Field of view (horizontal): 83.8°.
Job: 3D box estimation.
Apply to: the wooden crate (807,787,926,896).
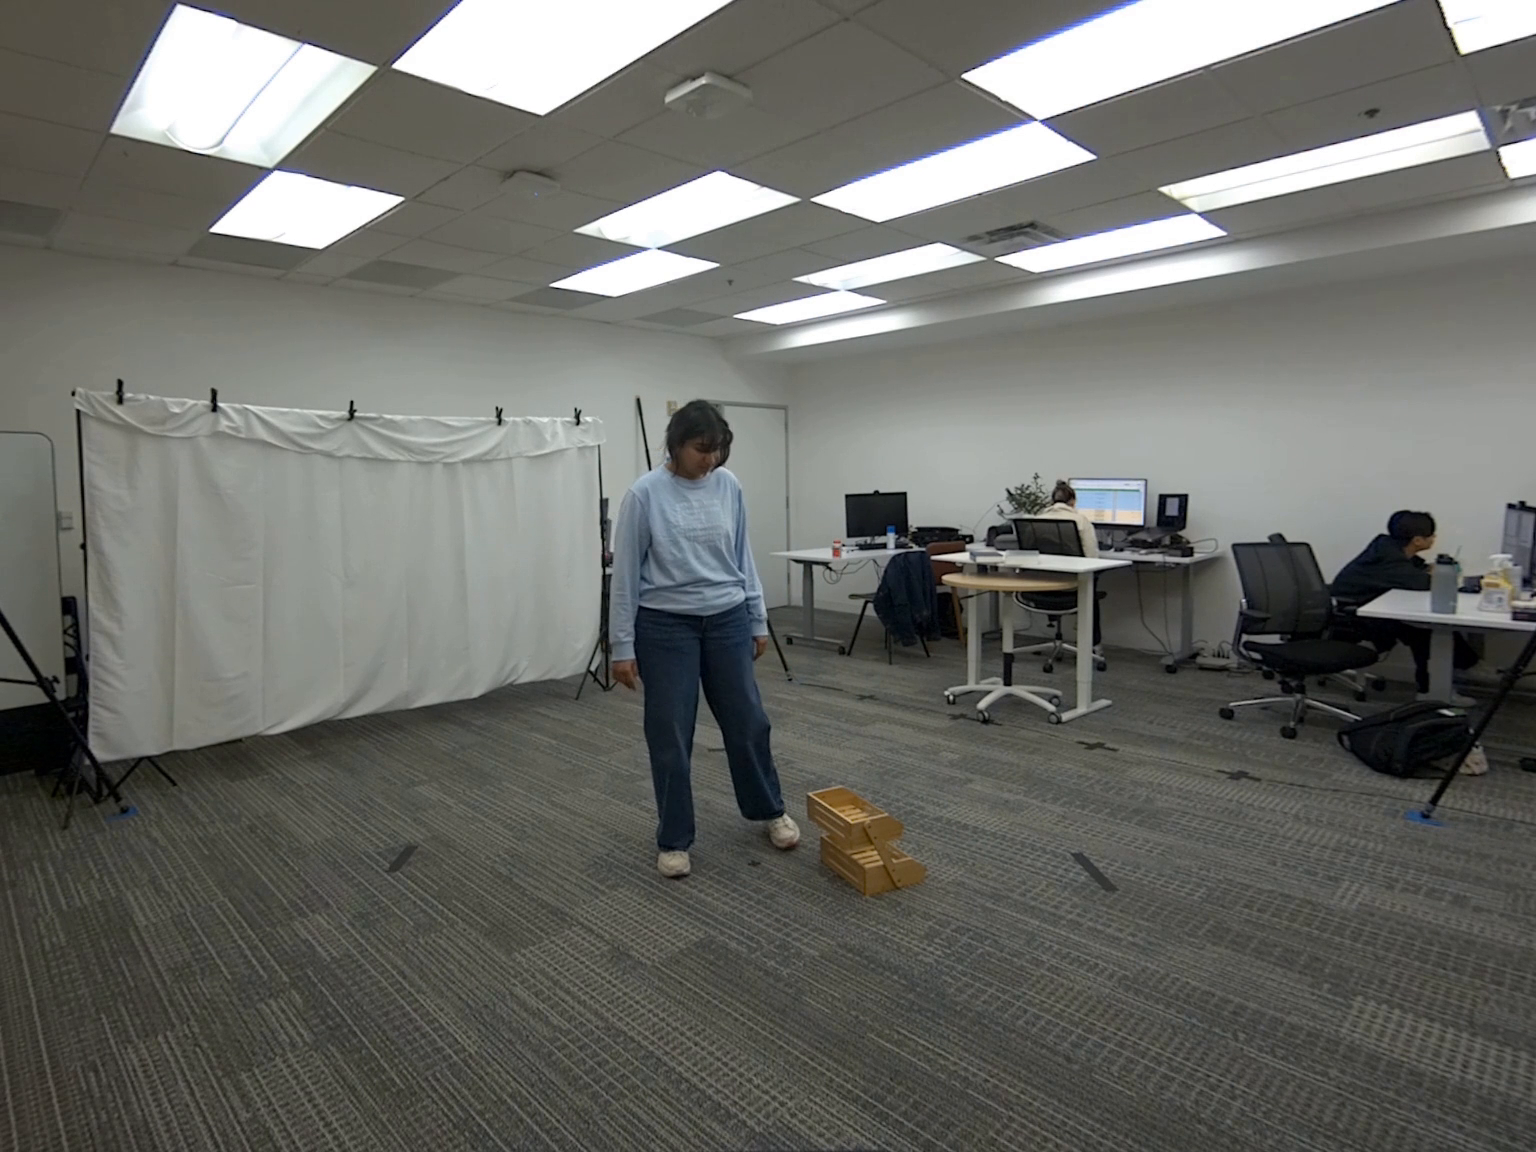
[{"bbox_3d":[0.347,0.908,3.018,0.296,0.272,0.332,-4,5,-26],"label":"wooden crate"}]
